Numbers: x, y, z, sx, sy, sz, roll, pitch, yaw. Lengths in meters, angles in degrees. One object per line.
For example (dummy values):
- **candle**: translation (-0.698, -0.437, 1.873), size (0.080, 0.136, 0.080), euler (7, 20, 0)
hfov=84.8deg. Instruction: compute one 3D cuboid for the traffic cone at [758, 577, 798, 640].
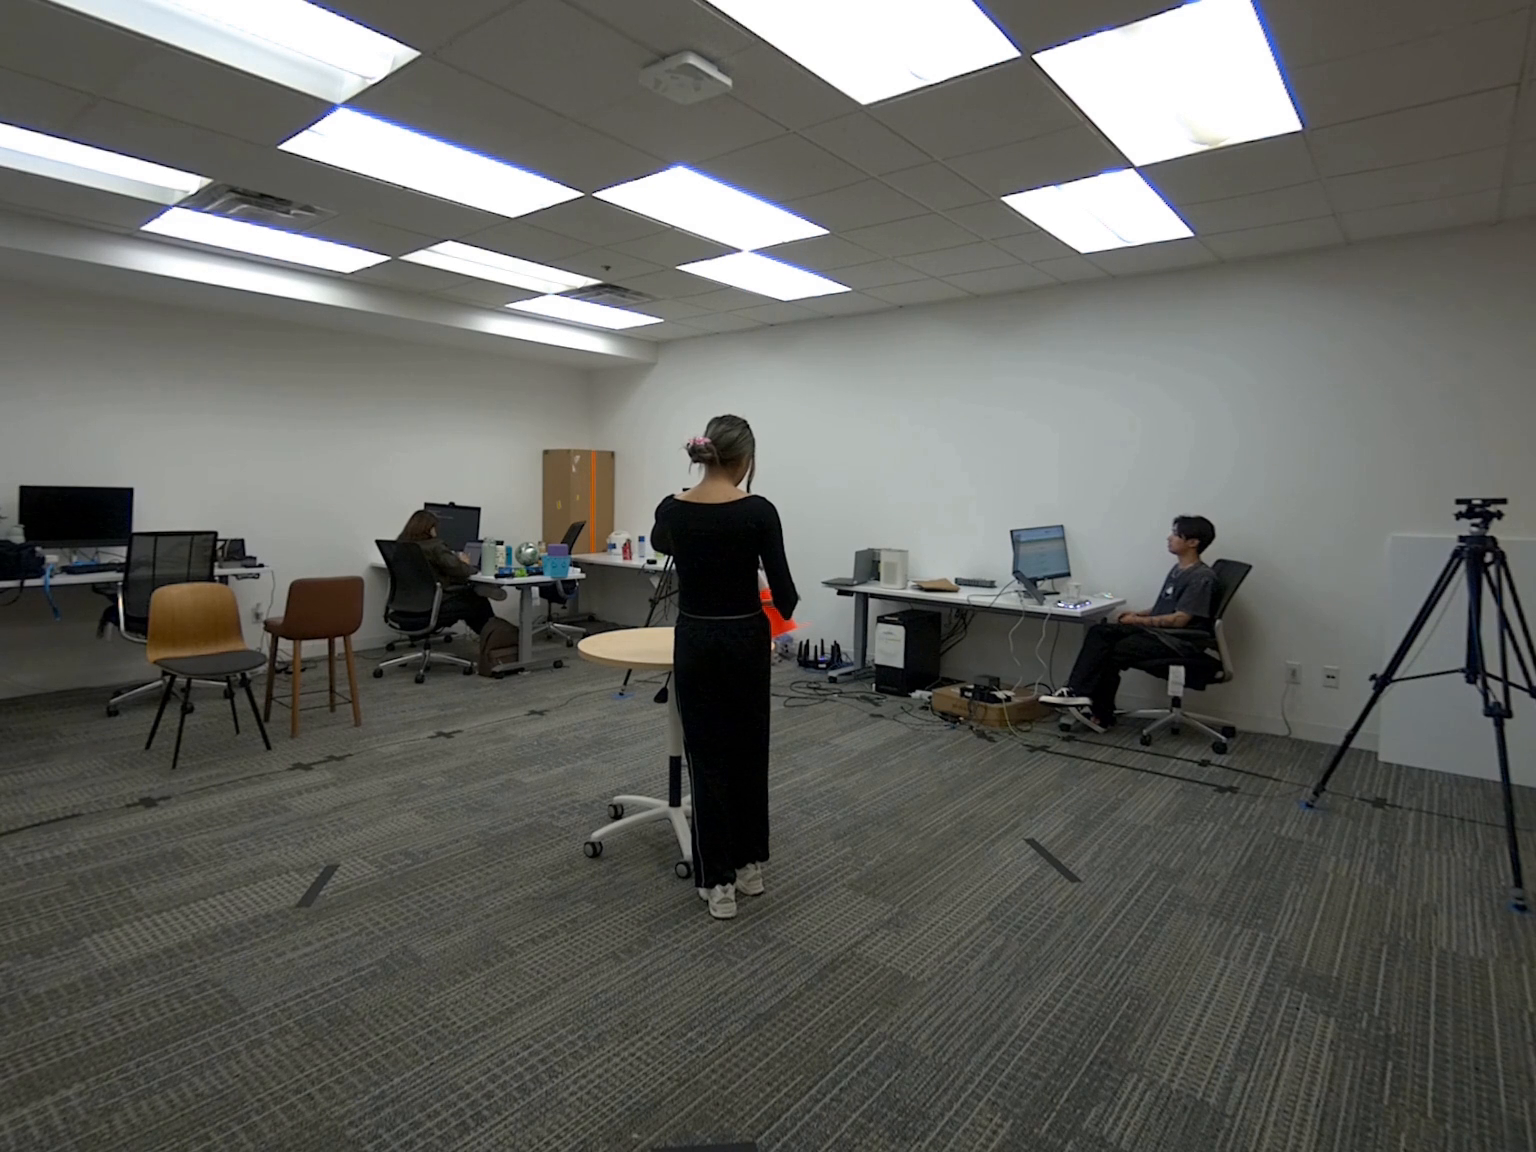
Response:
- **traffic cone**: translation (-0.053, 0.042, 3.077), size (0.201, 0.388, 0.205), euler (-18, -9, -33)
